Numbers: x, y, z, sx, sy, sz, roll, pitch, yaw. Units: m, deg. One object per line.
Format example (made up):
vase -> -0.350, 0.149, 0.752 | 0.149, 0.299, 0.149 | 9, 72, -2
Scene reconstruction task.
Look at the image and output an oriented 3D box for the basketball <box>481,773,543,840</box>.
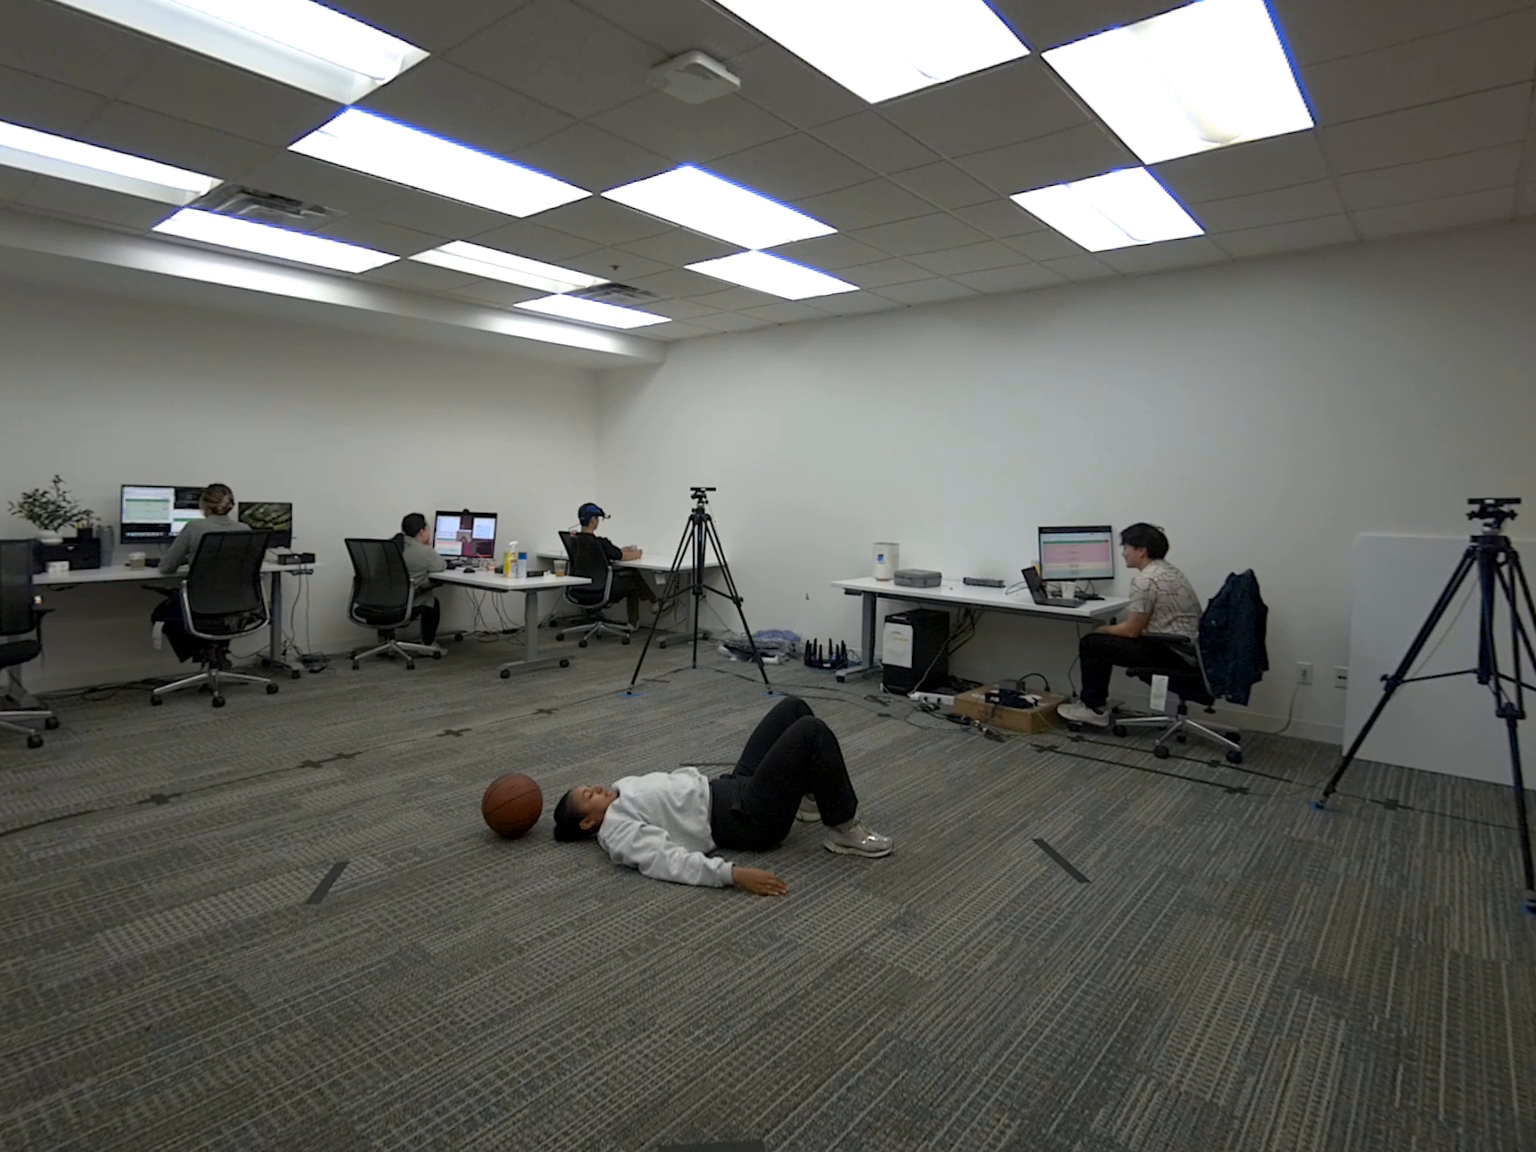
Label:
basketball -> -1.033, 0.912, 3.386 | 0.235, 0.235, 0.237 | 1, 4, -2
